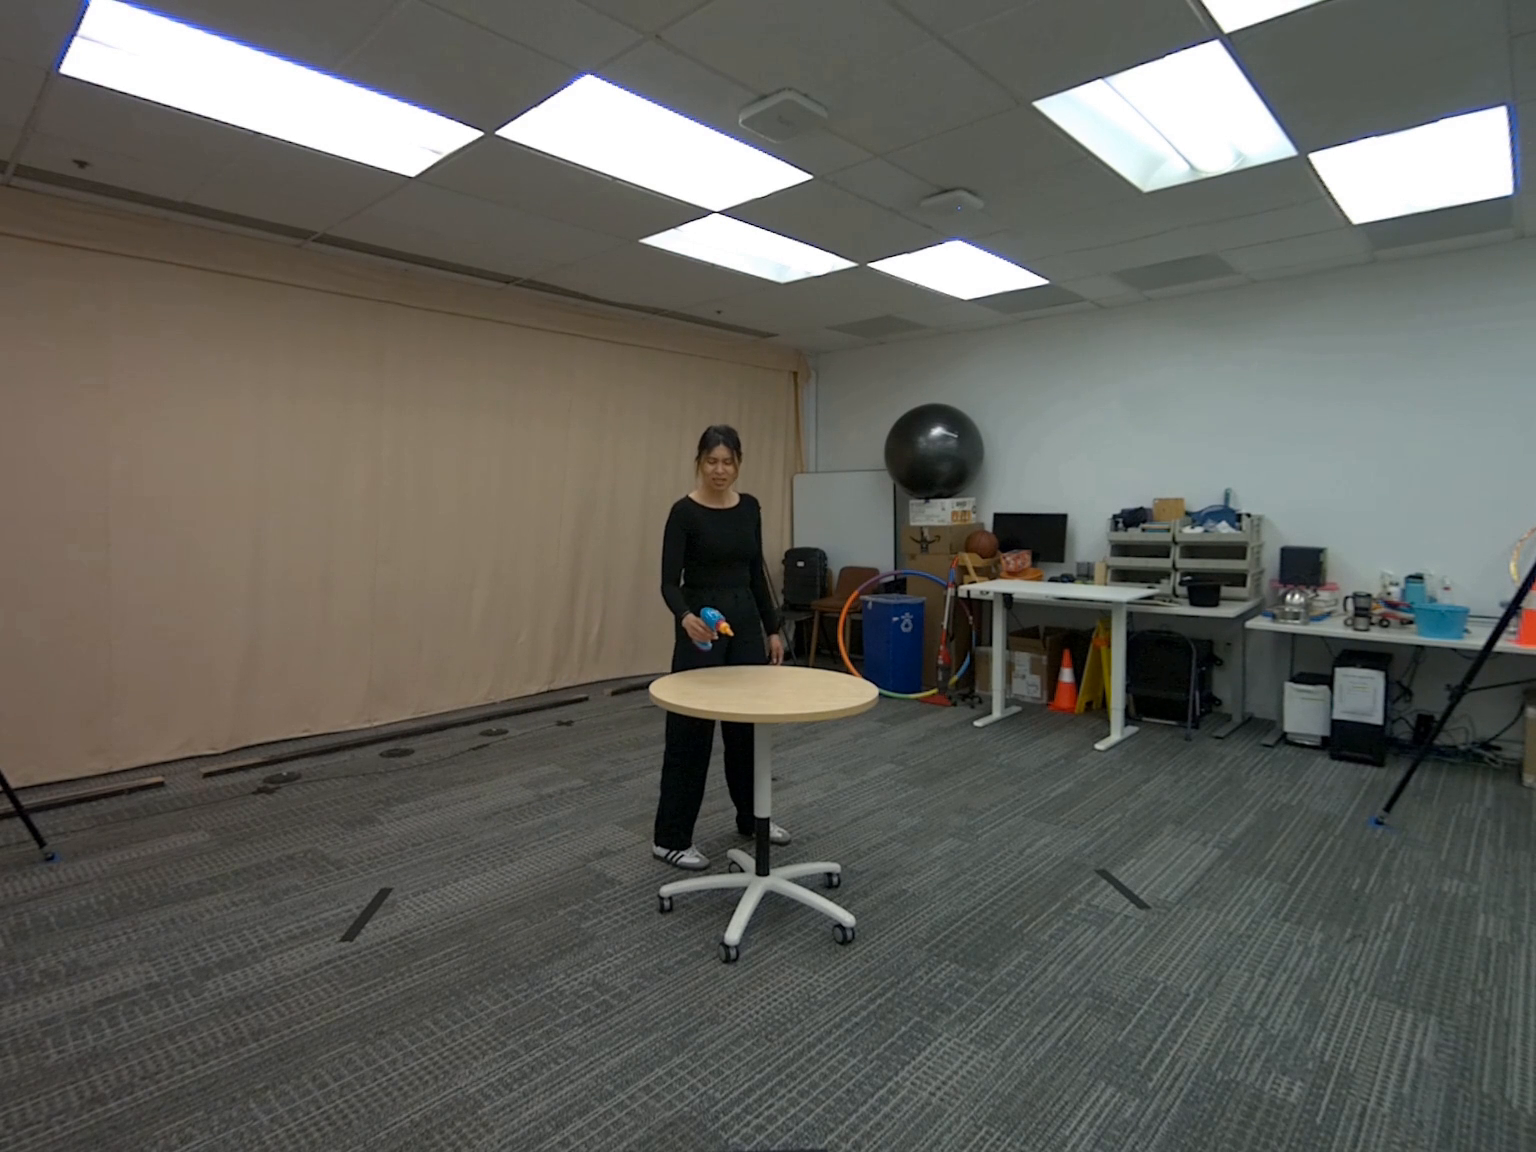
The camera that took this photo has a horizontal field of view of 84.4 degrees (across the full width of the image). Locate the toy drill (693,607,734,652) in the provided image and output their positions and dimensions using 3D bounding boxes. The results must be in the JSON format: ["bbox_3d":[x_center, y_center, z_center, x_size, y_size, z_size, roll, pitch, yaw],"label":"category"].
[{"bbox_3d":[-0.180,0.196,2.913,0.059,0.145,0.176,-4,29,-38],"label":"toy drill"}]
